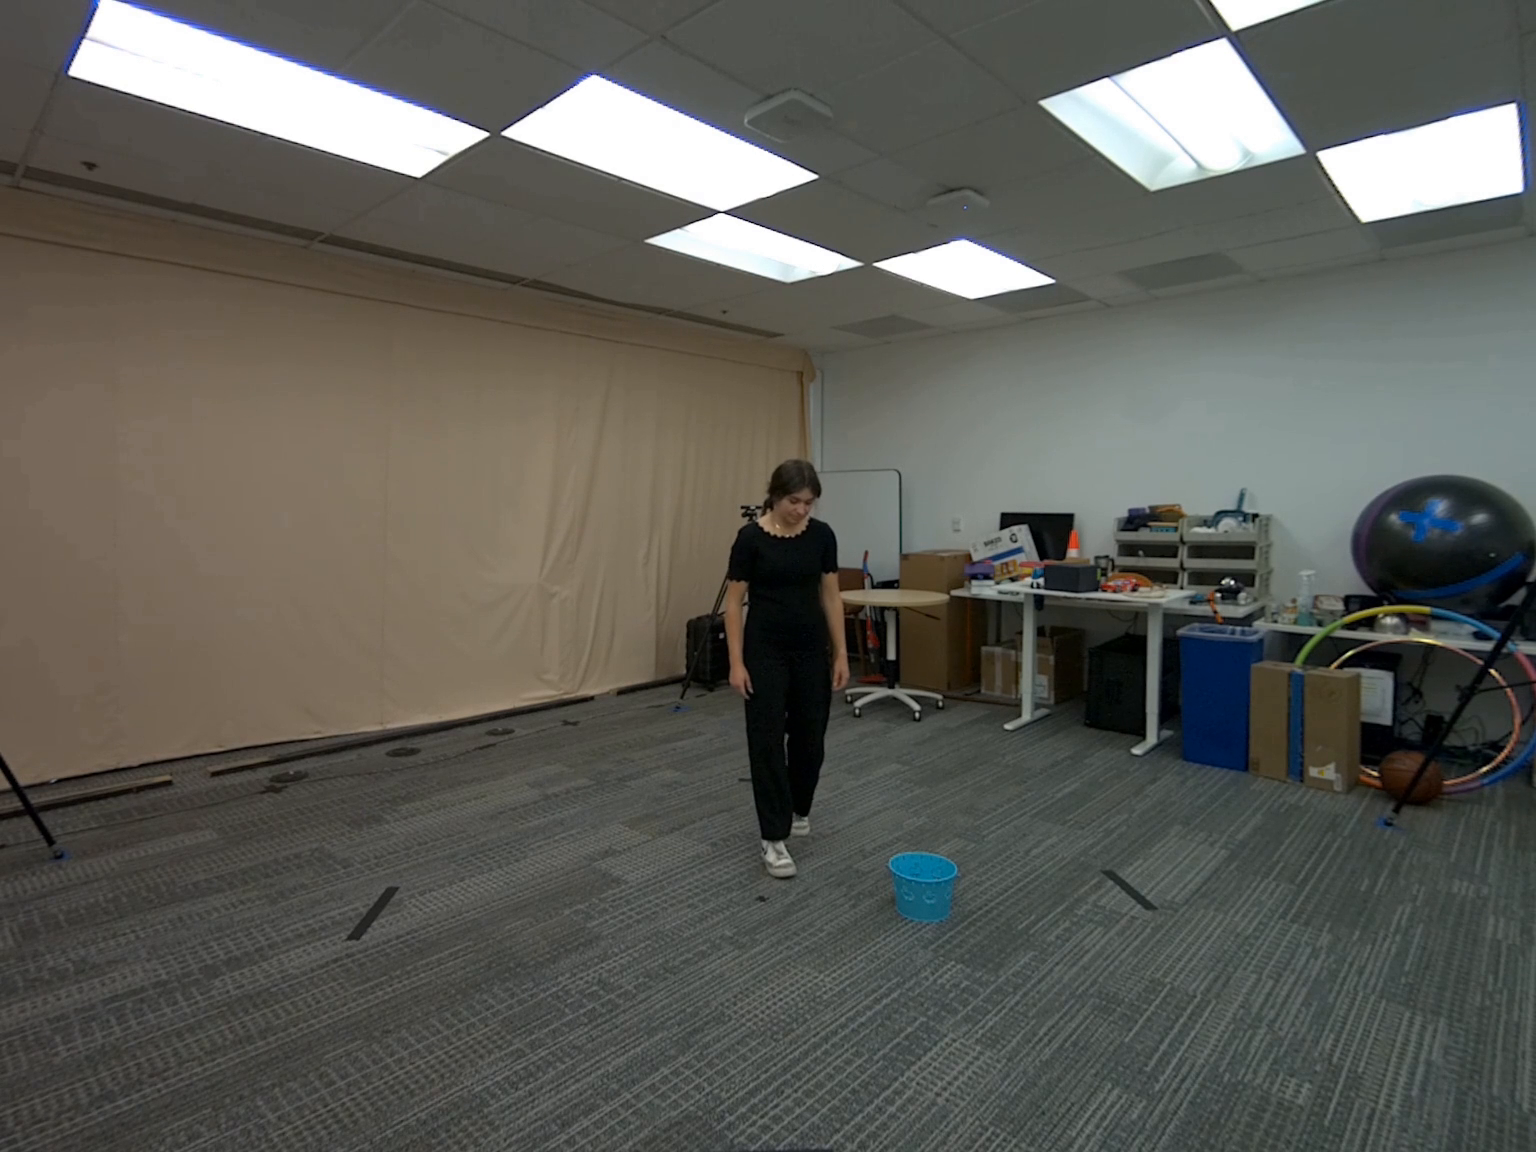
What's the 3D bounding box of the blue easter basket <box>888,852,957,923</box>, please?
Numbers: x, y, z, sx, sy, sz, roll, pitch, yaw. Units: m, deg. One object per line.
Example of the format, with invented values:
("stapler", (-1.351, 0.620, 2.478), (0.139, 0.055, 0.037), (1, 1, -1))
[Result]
("blue easter basket", (0.543, 1.070, 2.895), (0.243, 0.155, 0.244), (0, 4, -2))
